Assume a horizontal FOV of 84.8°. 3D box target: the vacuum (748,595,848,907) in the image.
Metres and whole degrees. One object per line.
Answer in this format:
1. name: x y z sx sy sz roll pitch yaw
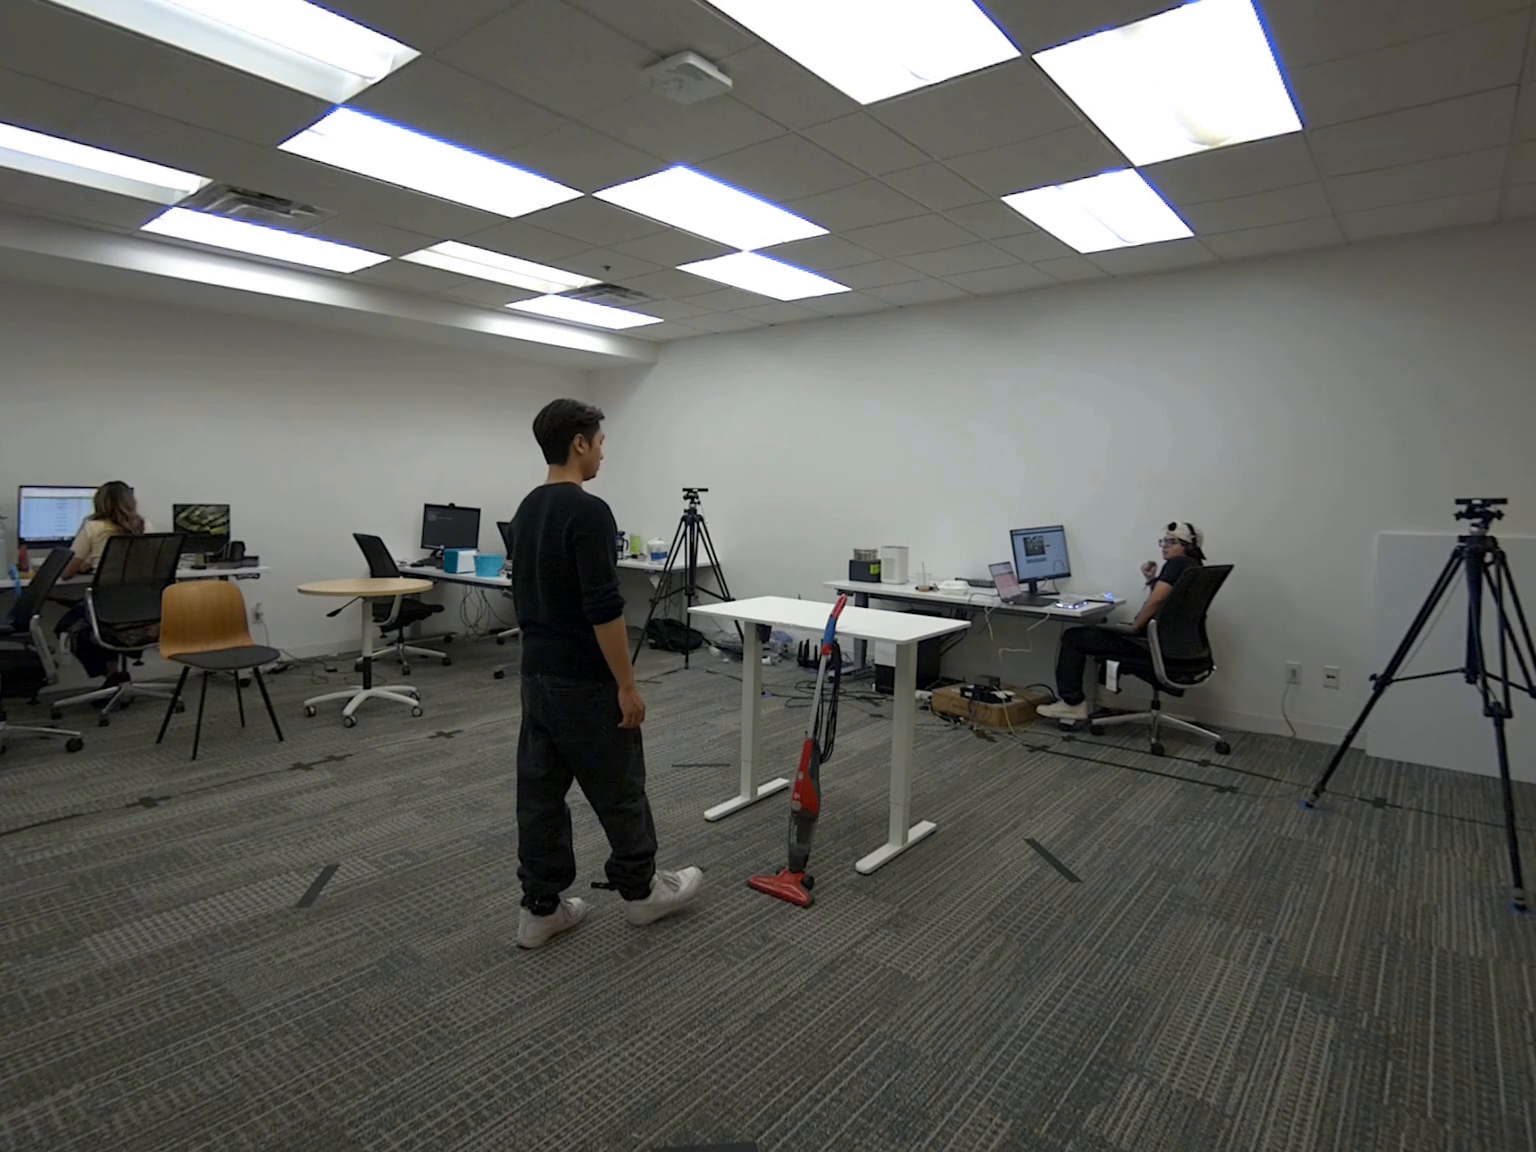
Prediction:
1. vacuum: 0.170 0.587 3.066 0.261 1.058 0.138 5 -14 34
